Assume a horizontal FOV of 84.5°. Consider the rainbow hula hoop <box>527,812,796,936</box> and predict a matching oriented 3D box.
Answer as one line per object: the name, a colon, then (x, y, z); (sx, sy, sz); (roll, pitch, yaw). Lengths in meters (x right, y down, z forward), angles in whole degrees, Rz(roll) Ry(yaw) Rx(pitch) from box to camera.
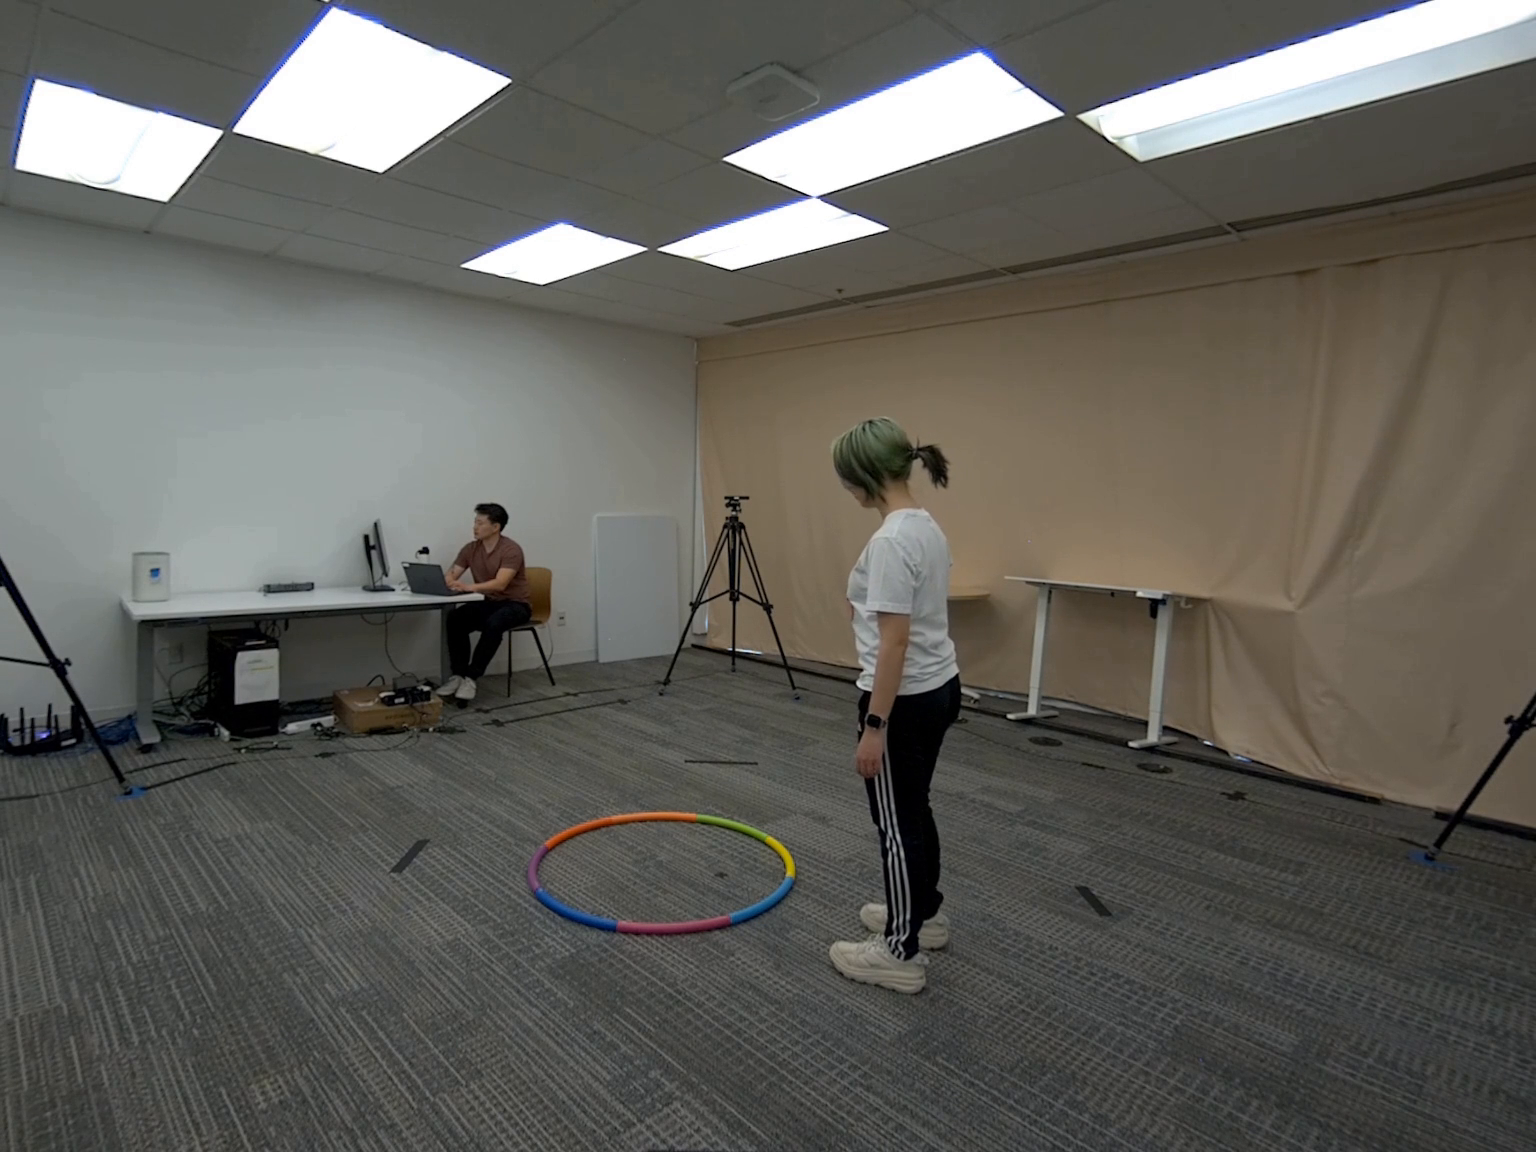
rainbow hula hoop: (-0.396, 1.066, 3.147); (0.978, 0.035, 0.982); (1, 5, -1)
